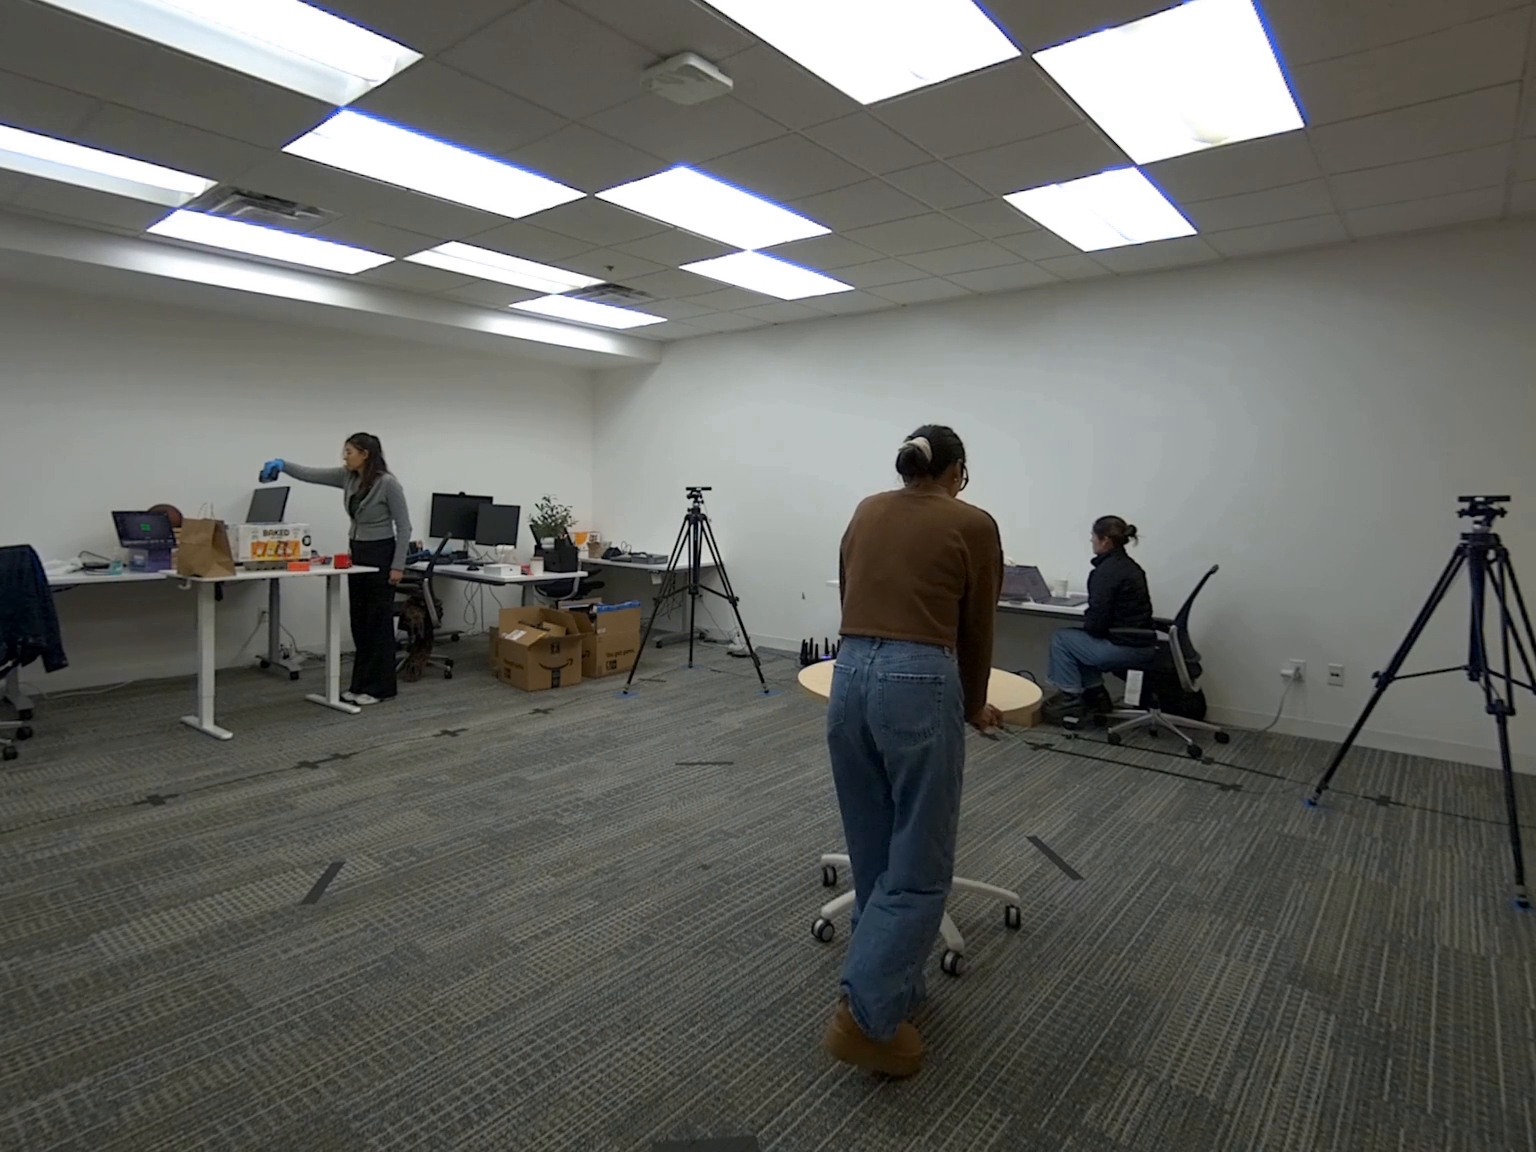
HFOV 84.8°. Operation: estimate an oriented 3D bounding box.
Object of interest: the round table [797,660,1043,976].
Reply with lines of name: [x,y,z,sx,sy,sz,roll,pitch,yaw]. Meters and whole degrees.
round table: [0.465,0.727,2.777,0.763,0.791,0.768,1,5,-2]
